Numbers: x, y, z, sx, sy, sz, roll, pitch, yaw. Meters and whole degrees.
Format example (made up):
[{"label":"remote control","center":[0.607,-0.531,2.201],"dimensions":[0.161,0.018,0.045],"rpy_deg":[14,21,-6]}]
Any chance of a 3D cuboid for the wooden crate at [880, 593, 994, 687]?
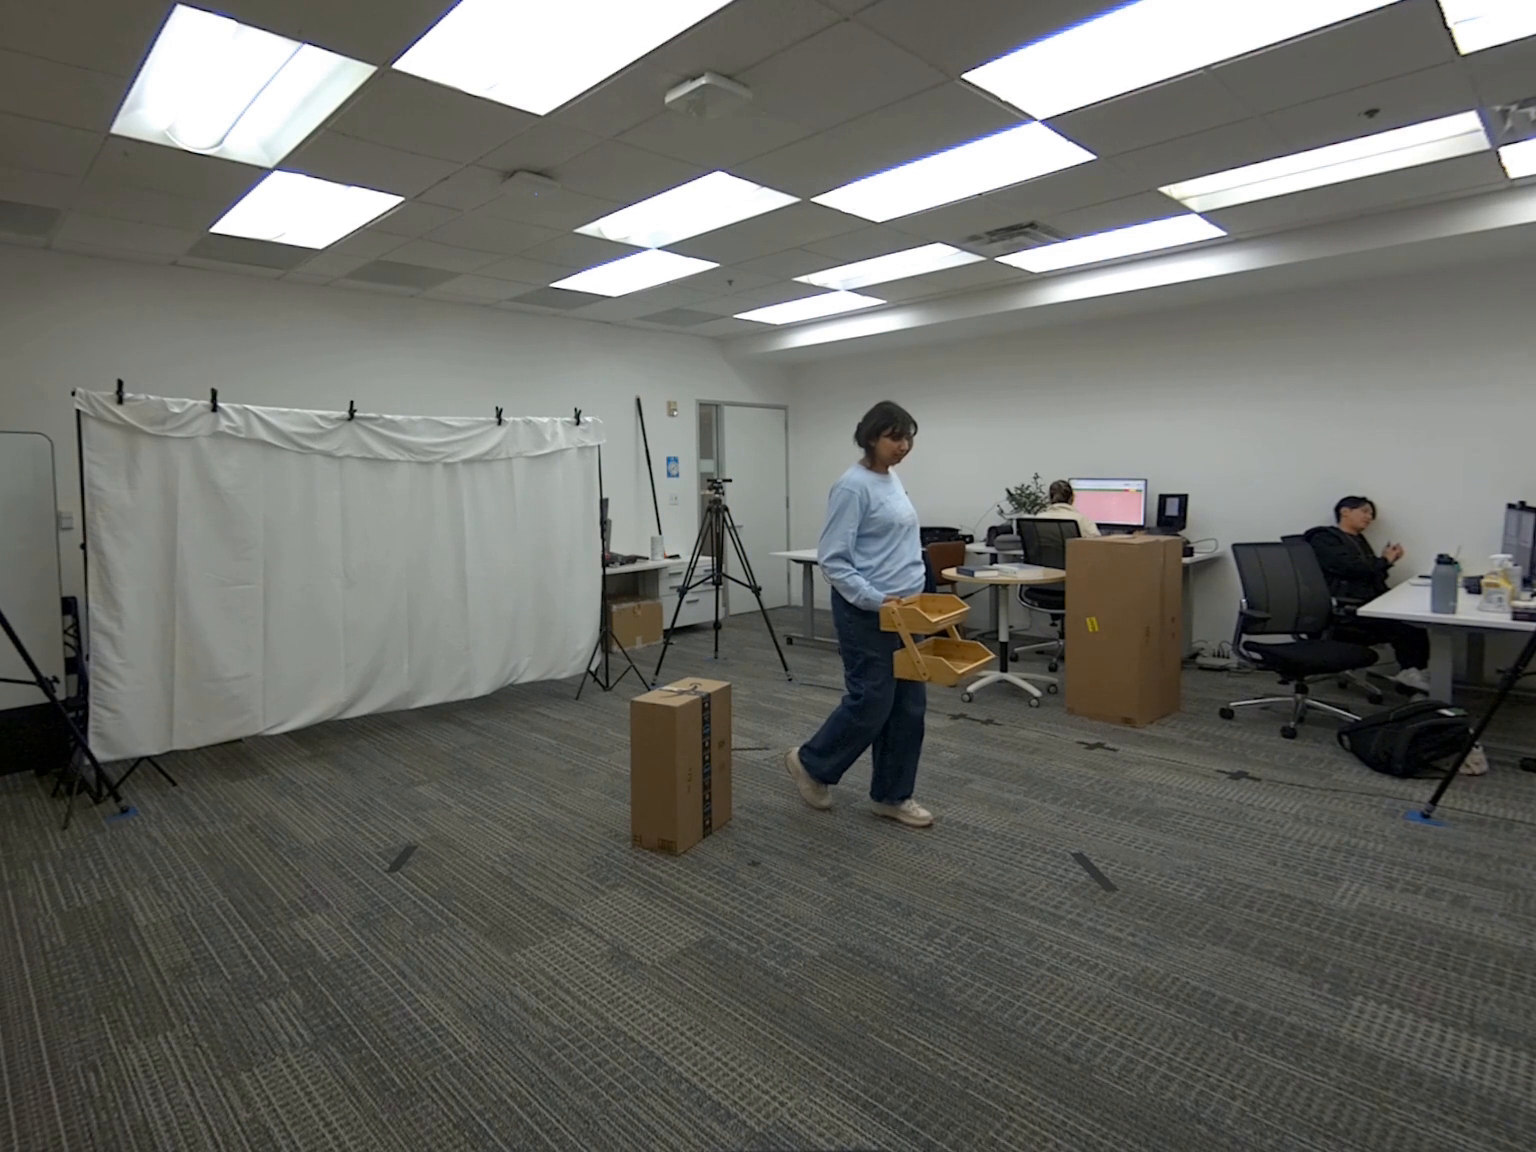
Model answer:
[{"label":"wooden crate","center":[0.621,0.221,3.119],"dimensions":[0.311,0.272,0.317],"rpy_deg":[2,7,39]}]
